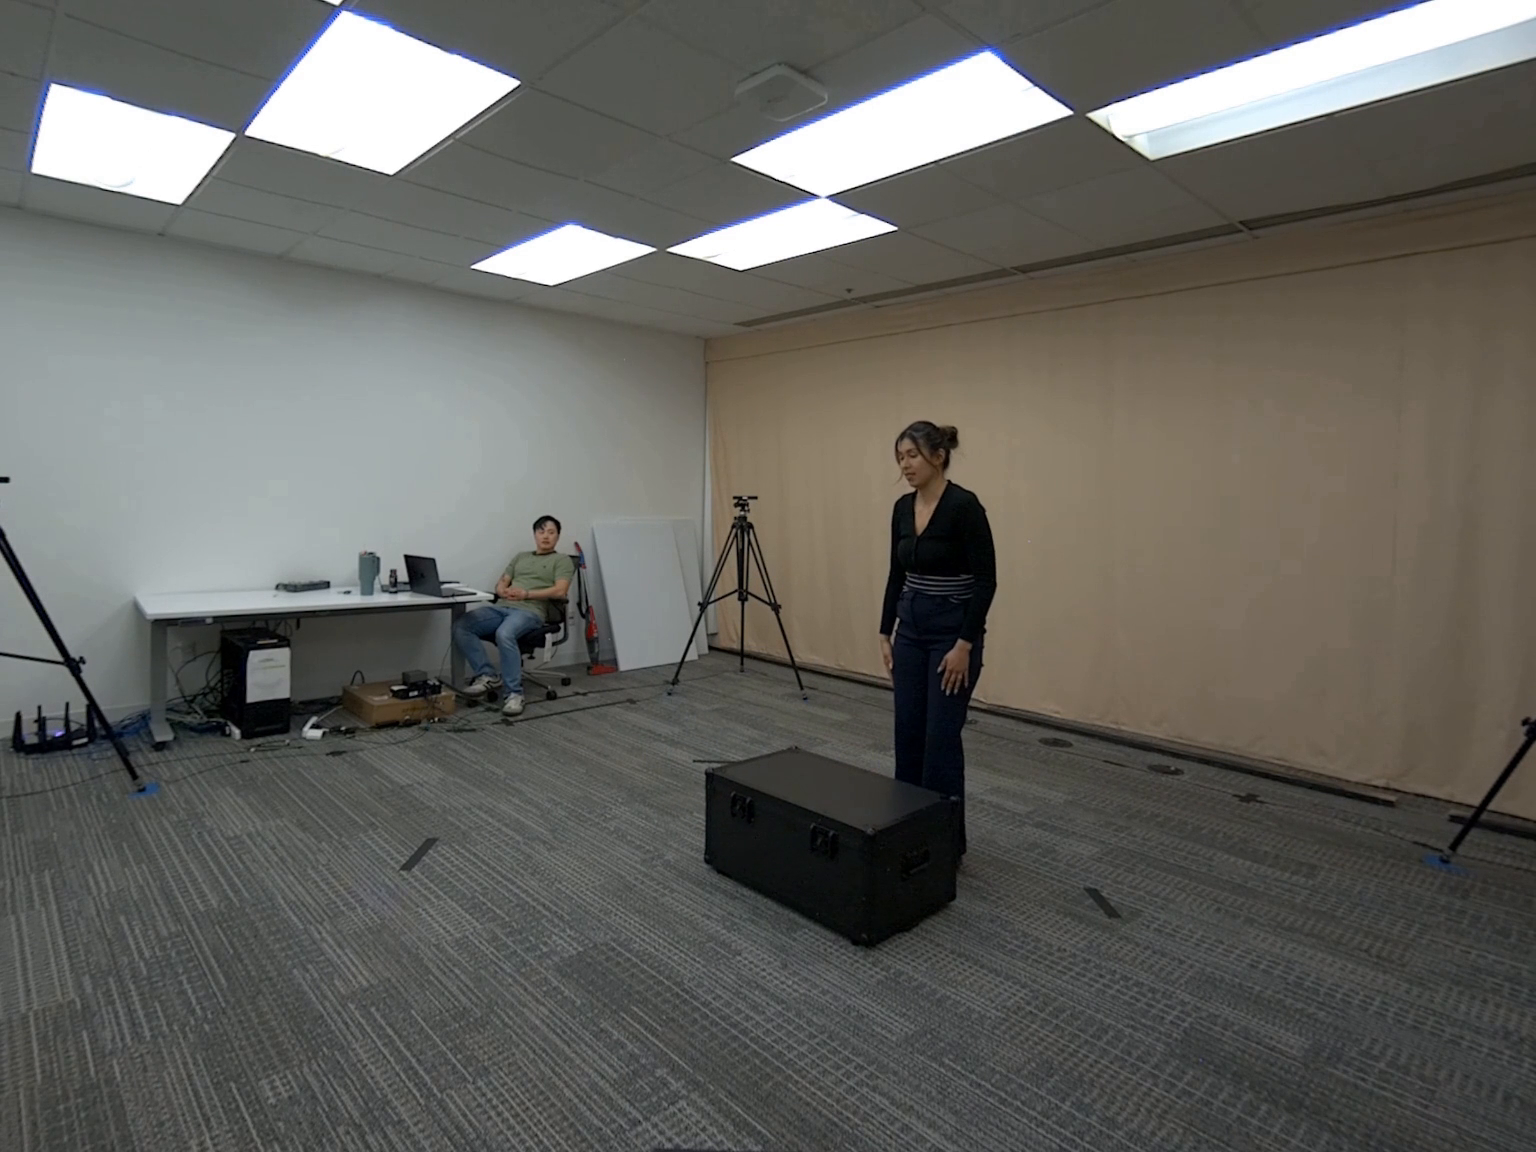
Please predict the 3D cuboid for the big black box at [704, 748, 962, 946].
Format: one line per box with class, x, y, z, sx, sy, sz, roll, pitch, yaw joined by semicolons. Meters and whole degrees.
big black box;0.217;0.932;2.986;0.509;0.395;0.883;-3;6;-44
